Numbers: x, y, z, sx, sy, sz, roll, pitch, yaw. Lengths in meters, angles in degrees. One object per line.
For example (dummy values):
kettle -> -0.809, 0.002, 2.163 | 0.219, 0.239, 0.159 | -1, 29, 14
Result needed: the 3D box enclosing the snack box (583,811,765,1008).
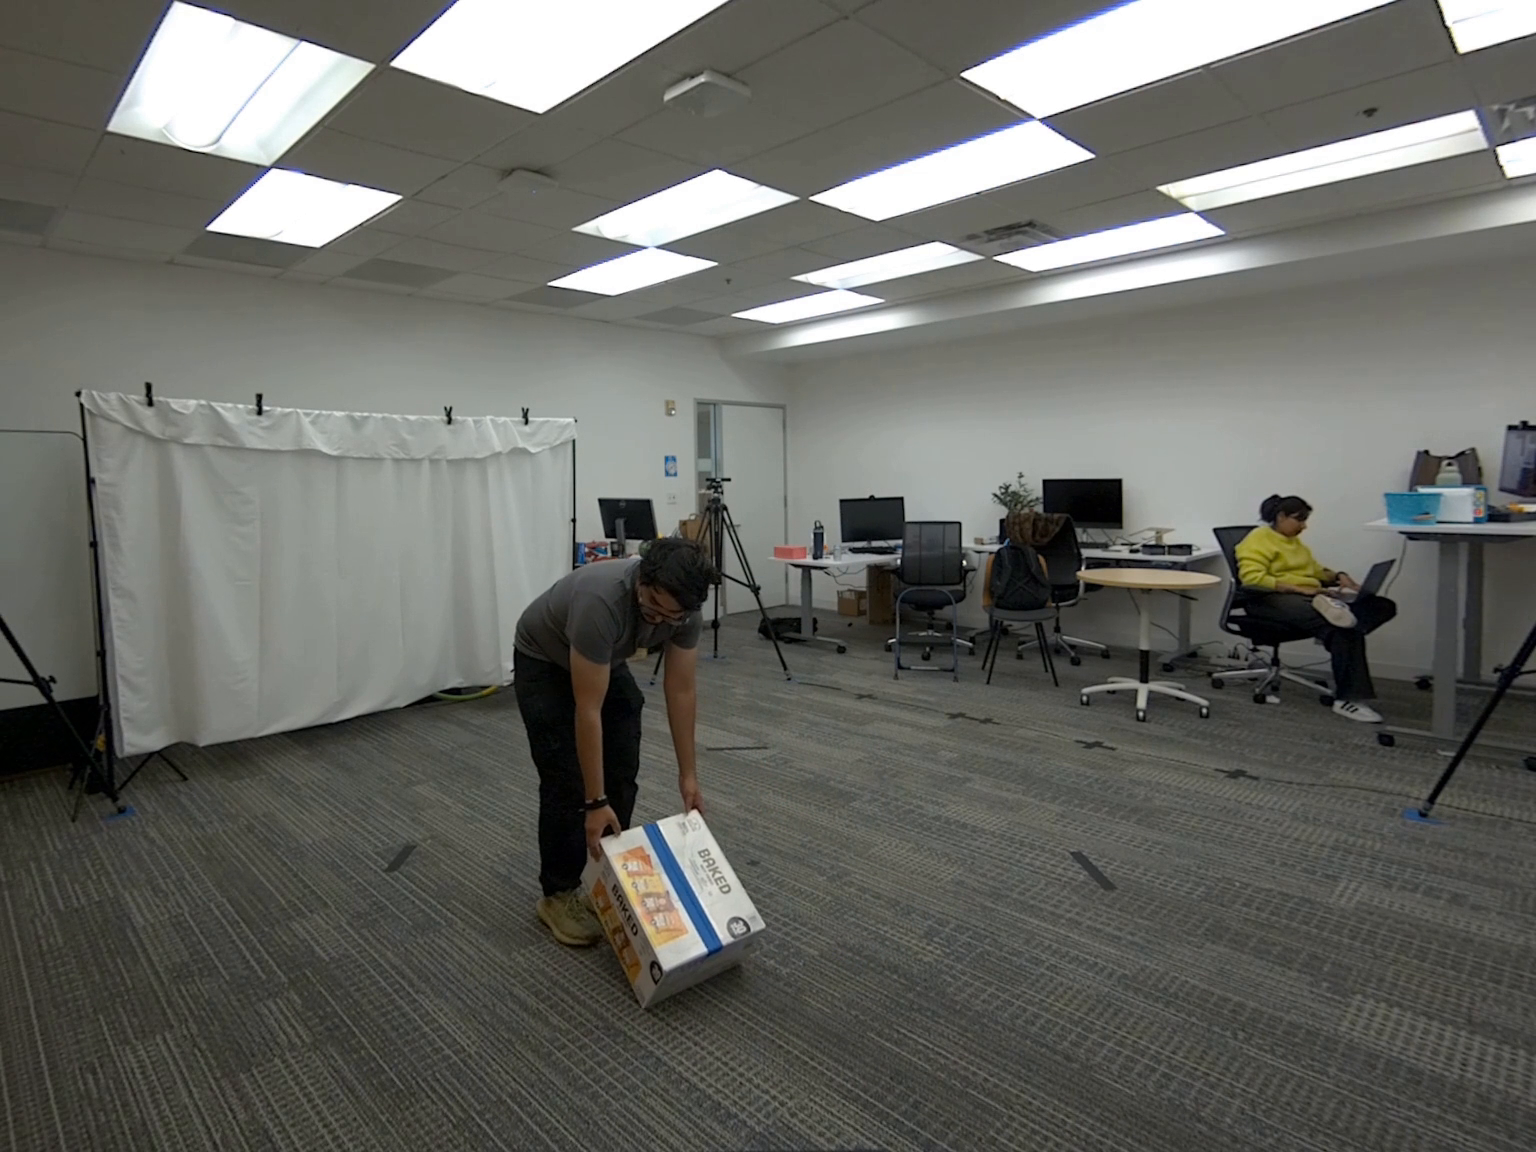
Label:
snack box -> -0.272, 0.931, 2.425 | 0.331, 0.203, 0.420 | -6, 43, -38
